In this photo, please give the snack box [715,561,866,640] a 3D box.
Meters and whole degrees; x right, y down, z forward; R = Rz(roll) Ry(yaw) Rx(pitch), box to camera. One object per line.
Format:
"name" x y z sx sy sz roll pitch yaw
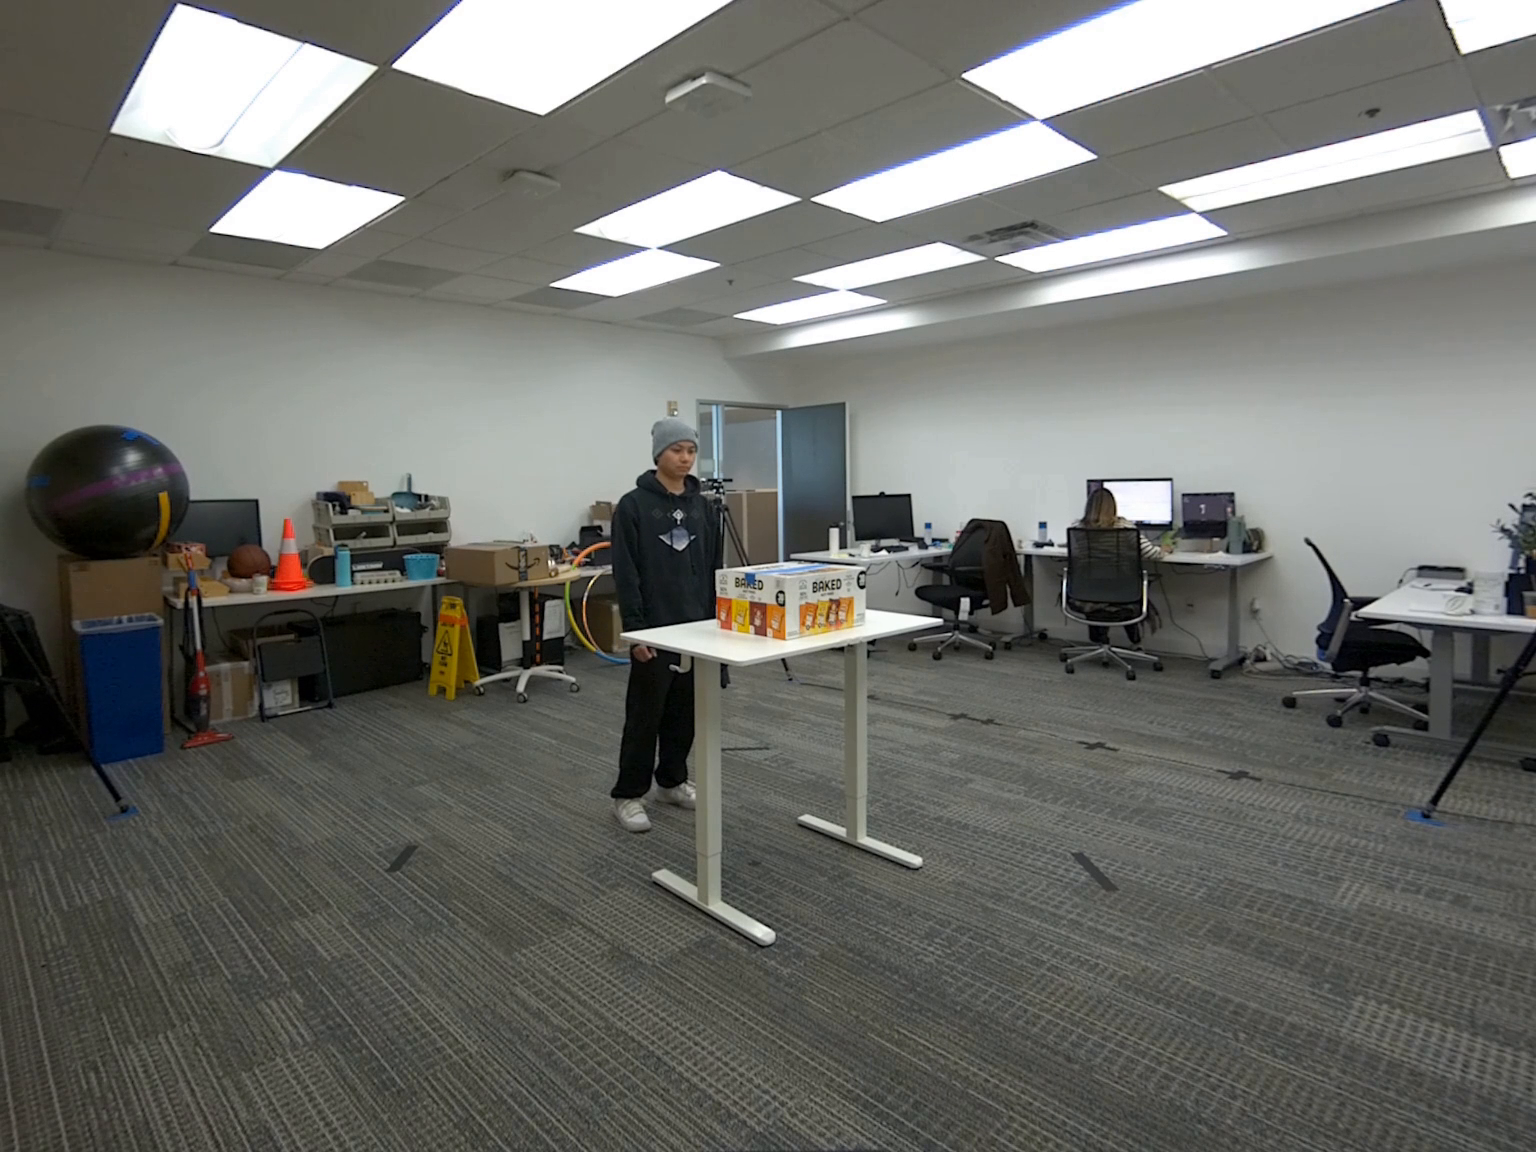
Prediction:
"snack box" 0.081 0.075 2.965 0.394 0.205 0.351 -6 8 -44
